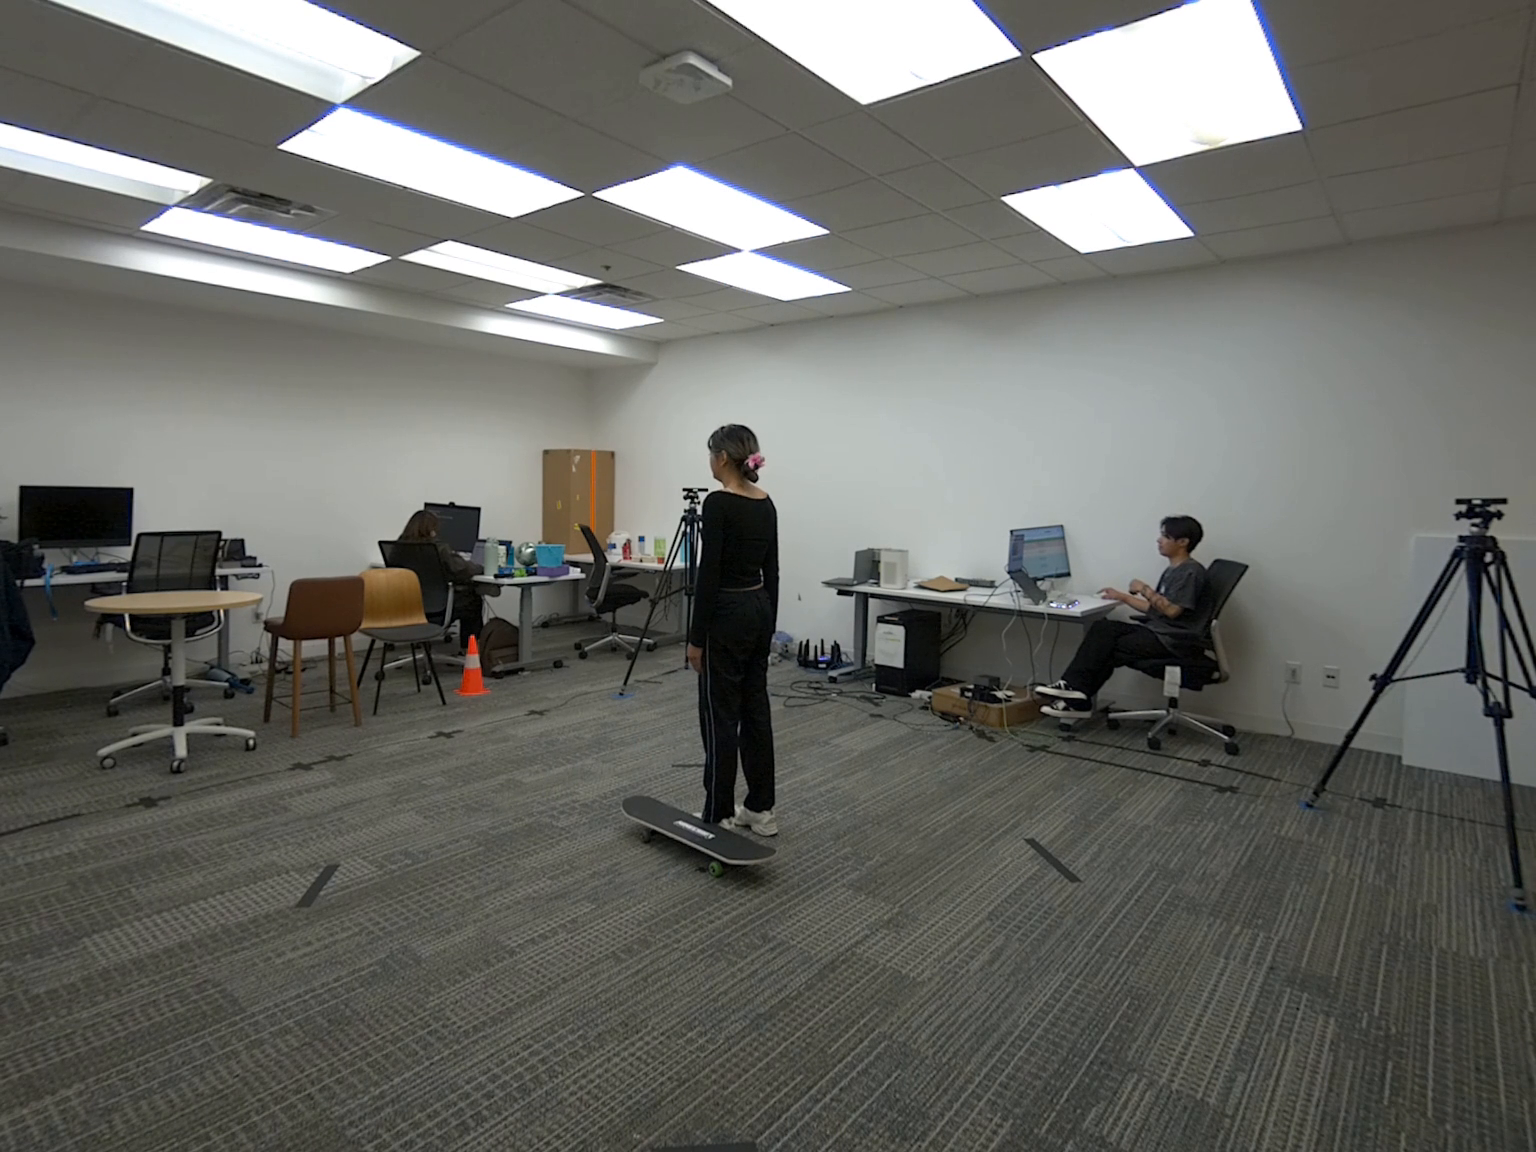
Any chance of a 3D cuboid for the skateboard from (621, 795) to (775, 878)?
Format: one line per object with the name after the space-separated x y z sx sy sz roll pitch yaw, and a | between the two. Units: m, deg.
-0.300 0.995 3.248 0.813 0.110 0.188 6 8 44 | skateboard
